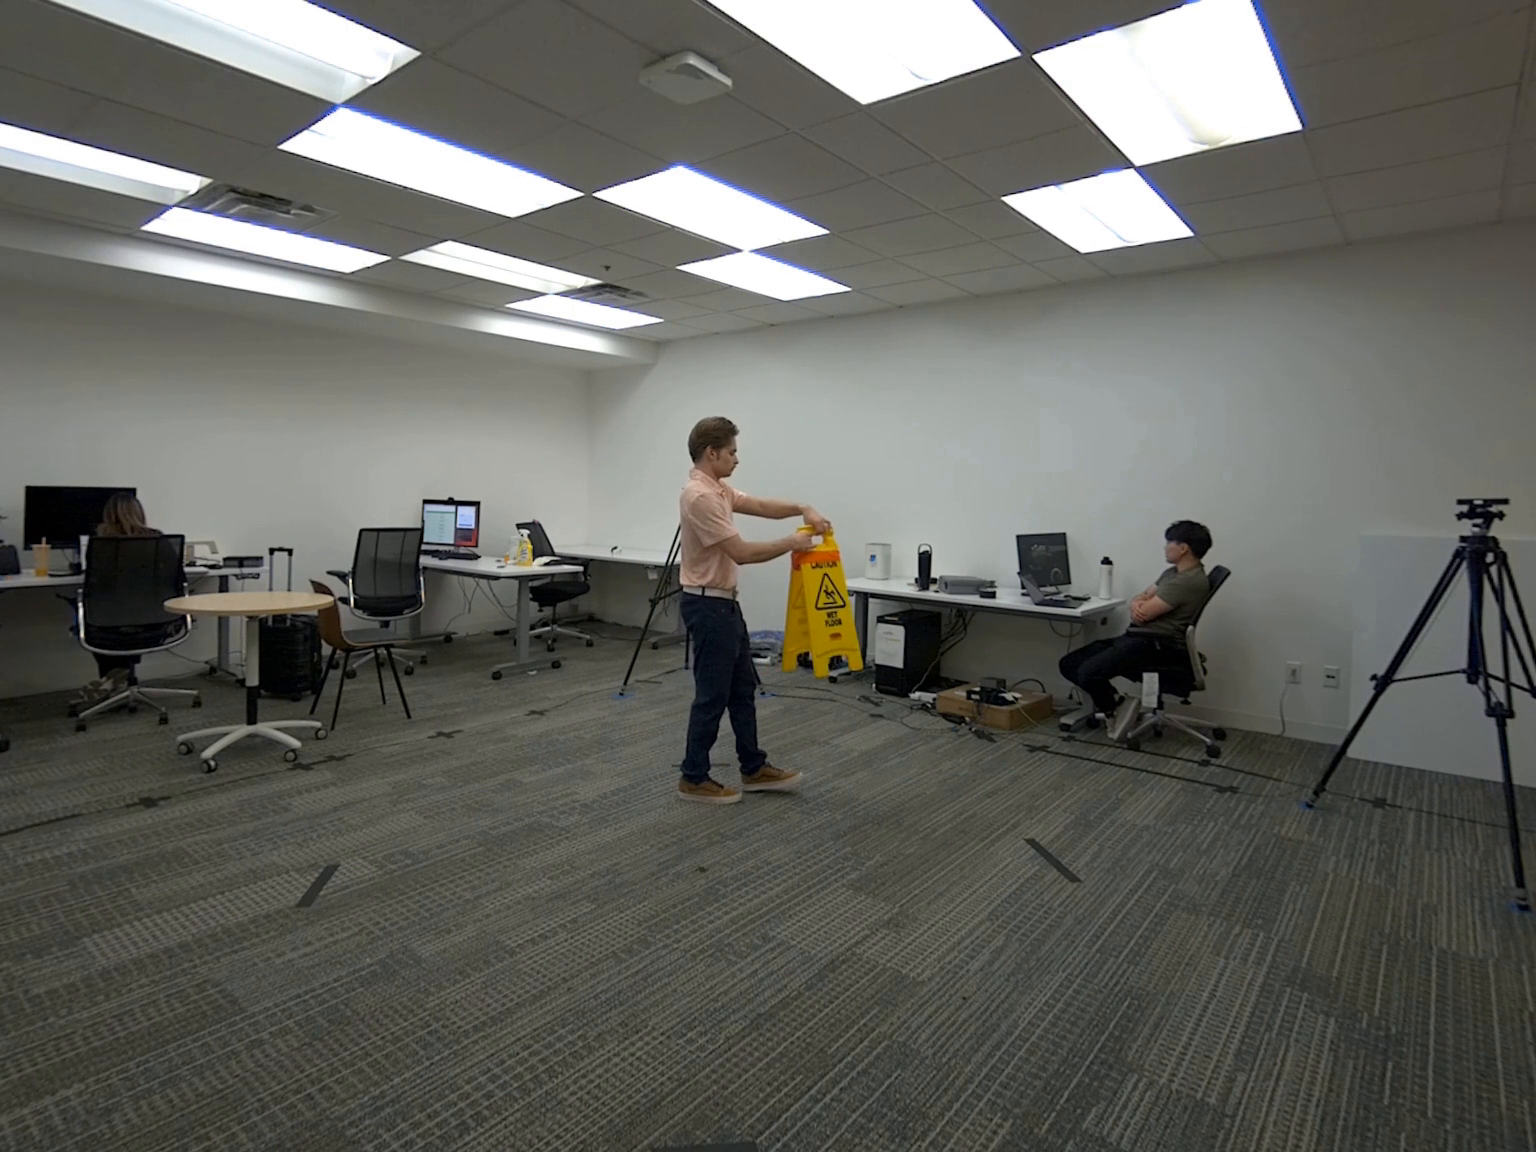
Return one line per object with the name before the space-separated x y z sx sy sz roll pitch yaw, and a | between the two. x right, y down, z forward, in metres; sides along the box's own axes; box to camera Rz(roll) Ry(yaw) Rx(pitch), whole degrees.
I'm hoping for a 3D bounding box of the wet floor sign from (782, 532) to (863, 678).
wet floor sign | 0.216 0.096 3.823 0.274 0.645 0.298 -4 1 -34
